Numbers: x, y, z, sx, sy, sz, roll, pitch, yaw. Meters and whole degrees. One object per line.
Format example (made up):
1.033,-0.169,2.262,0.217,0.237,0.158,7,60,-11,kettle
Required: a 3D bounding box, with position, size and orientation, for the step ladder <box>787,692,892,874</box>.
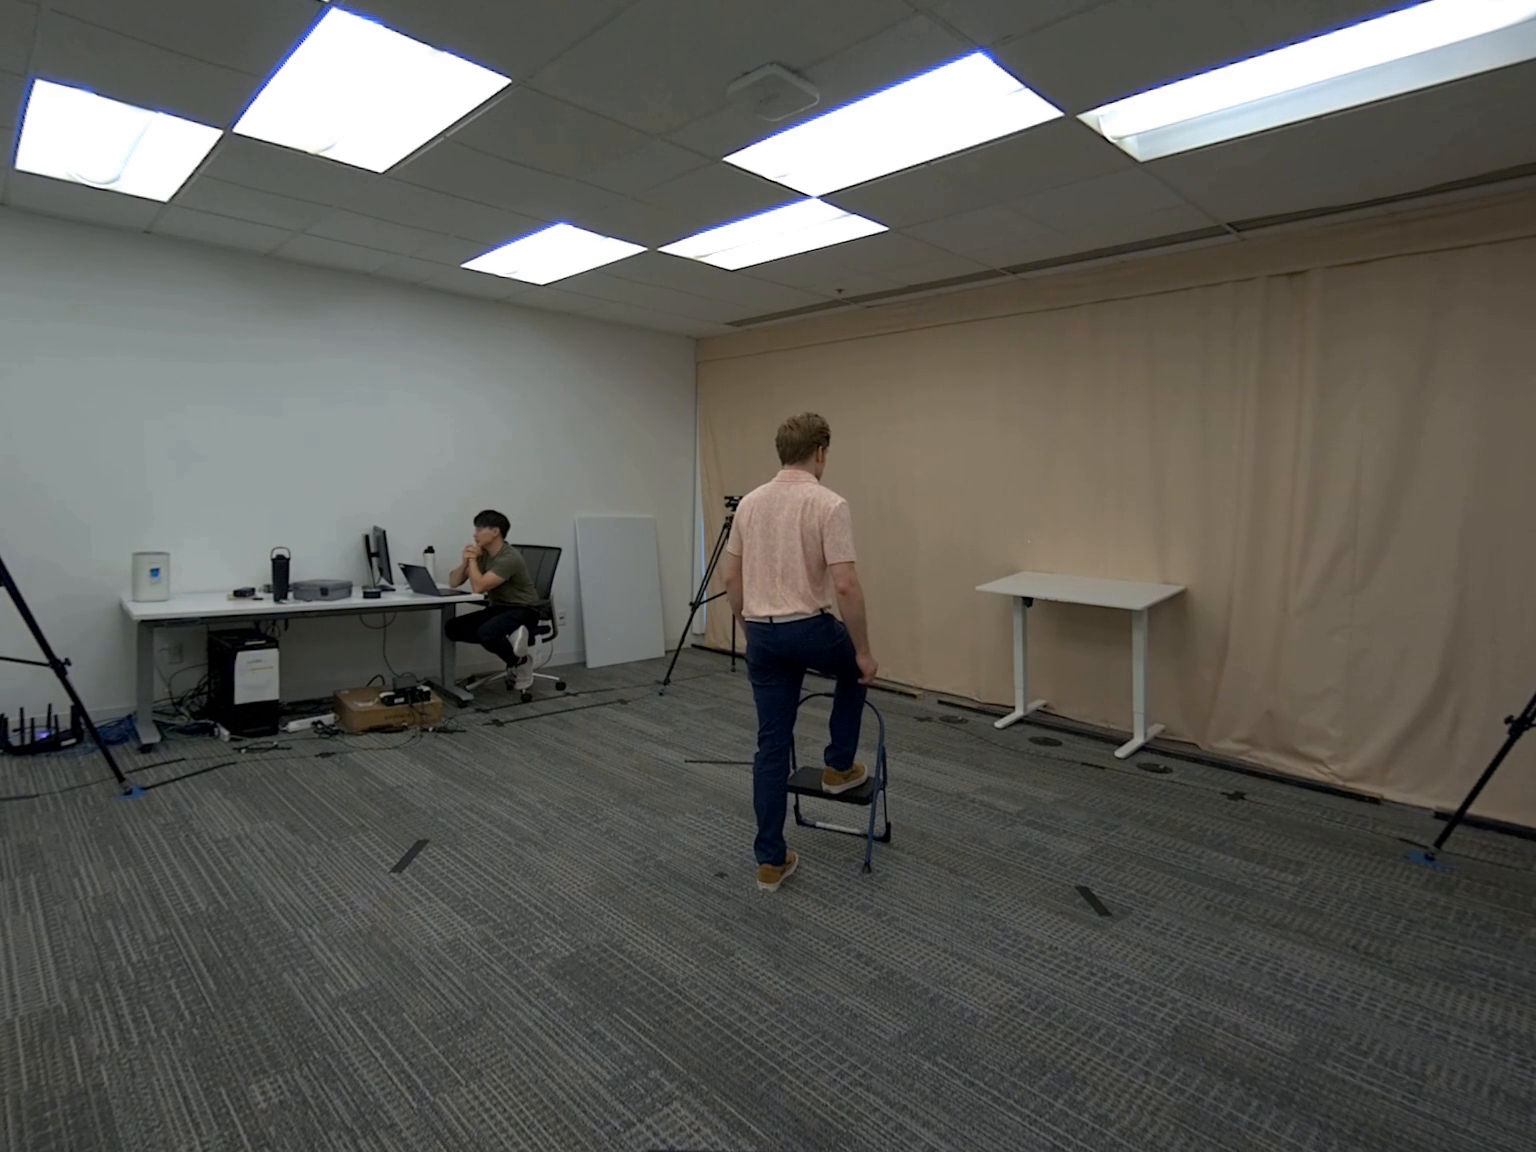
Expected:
0.253,0.787,3.383,0.439,0.605,0.343,3,3,24,step ladder
